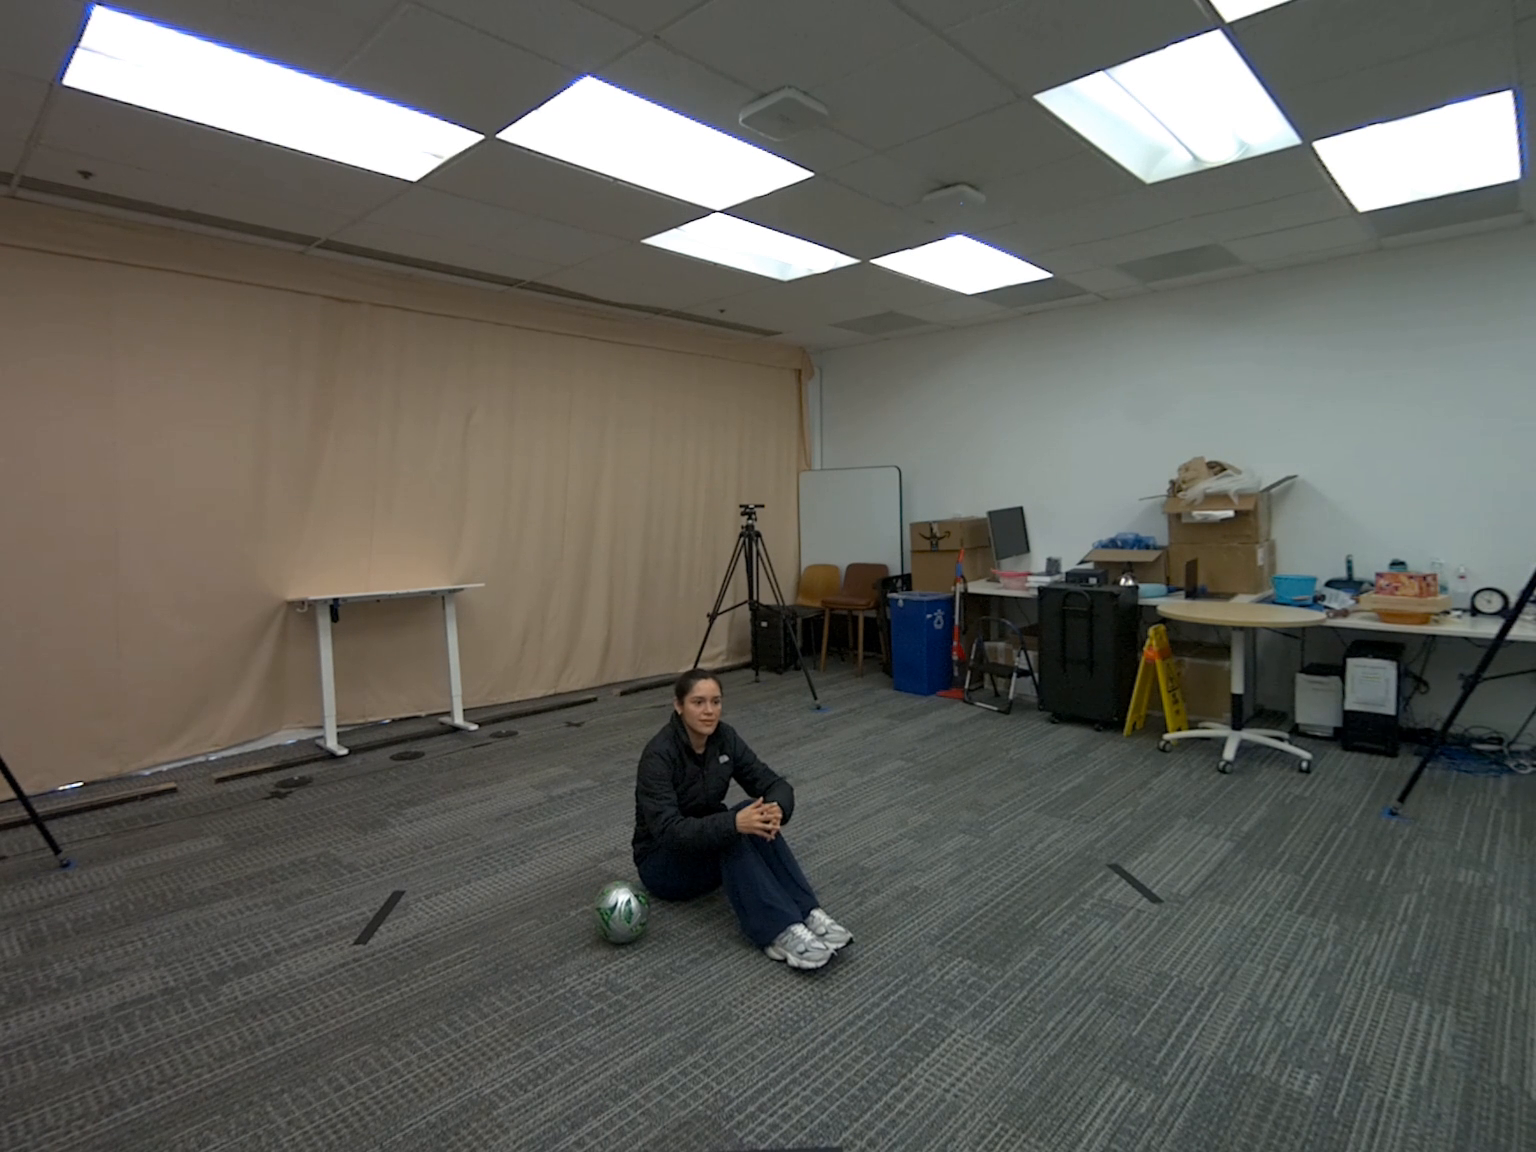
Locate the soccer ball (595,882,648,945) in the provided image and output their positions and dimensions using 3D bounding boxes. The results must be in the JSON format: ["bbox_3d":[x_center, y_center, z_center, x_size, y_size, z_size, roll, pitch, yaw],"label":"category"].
[{"bbox_3d":[-0.474,1.074,2.719,0.187,0.187,0.188,2,5,-2],"label":"soccer ball"}]
